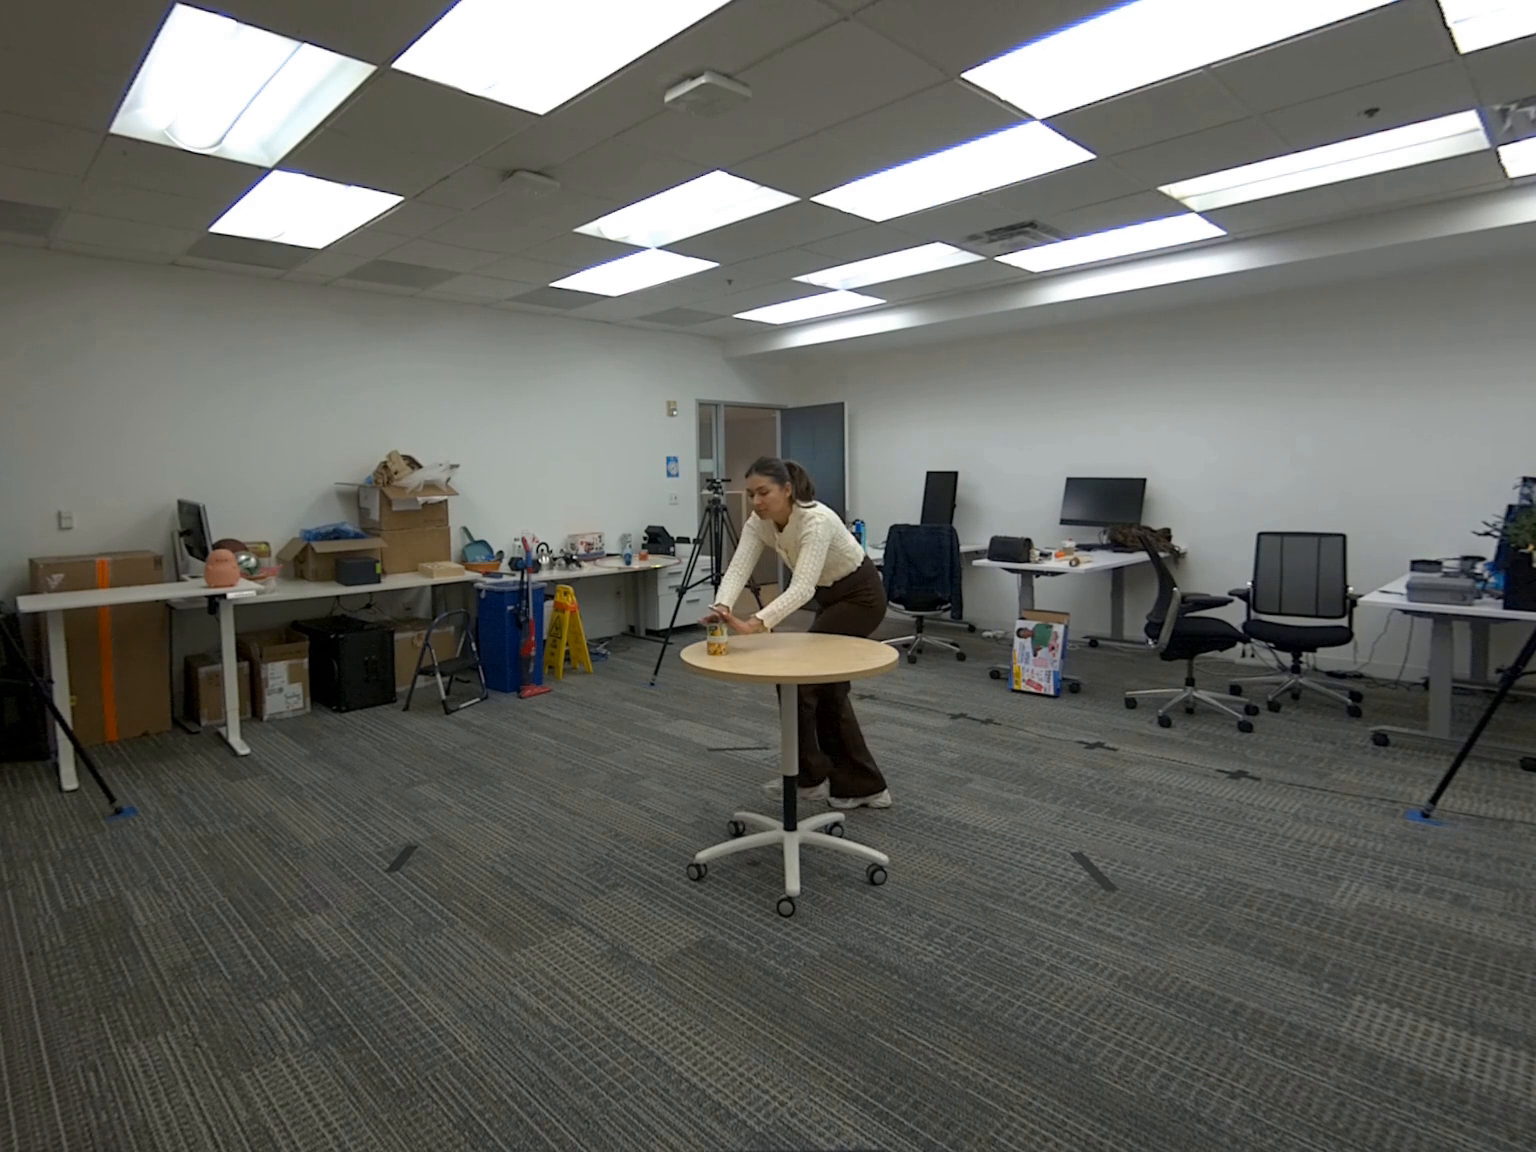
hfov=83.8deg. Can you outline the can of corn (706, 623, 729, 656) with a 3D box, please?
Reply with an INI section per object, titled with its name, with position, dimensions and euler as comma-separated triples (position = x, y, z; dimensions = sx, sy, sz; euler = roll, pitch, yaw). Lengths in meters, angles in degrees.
[can of corn]
position = -0.172, 0.219, 3.006
dimensions = 0.074, 0.111, 0.074
euler = 0, 3, -2
